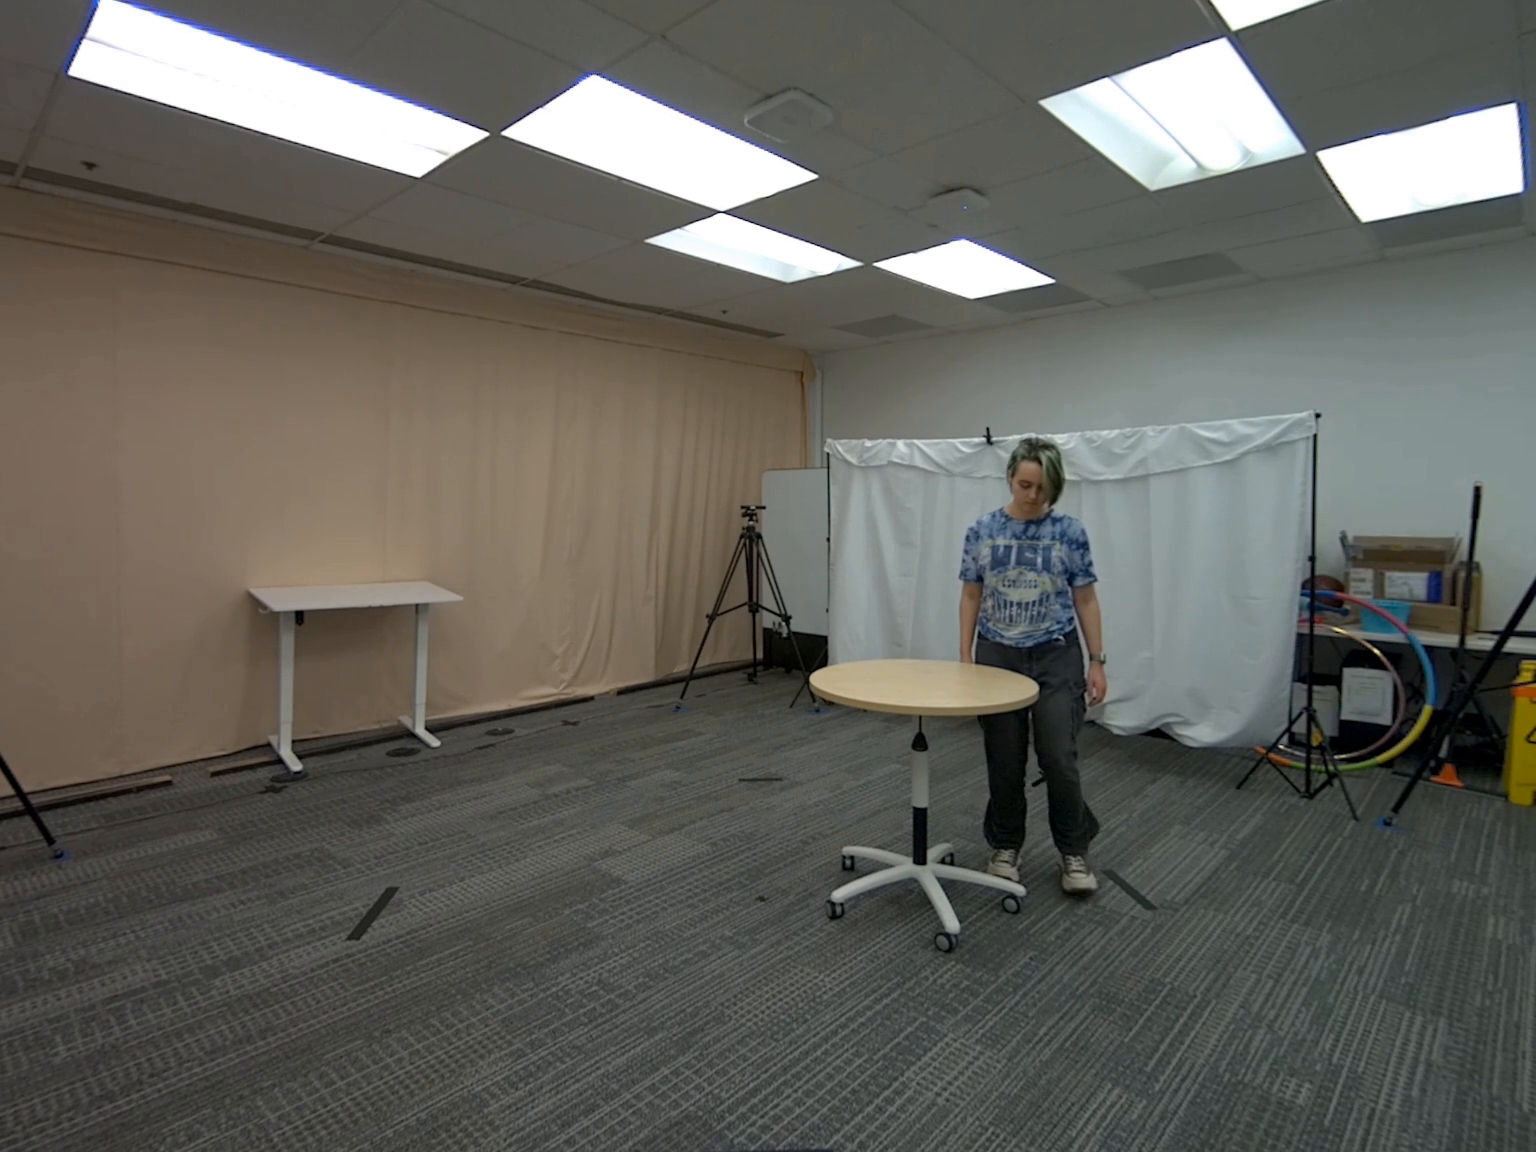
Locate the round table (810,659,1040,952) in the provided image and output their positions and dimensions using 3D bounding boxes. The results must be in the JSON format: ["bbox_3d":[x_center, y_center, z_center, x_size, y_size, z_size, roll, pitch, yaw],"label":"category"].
[{"bbox_3d":[0.525,0.754,2.935,0.763,0.792,0.767,0,4,-2],"label":"round table"}]
